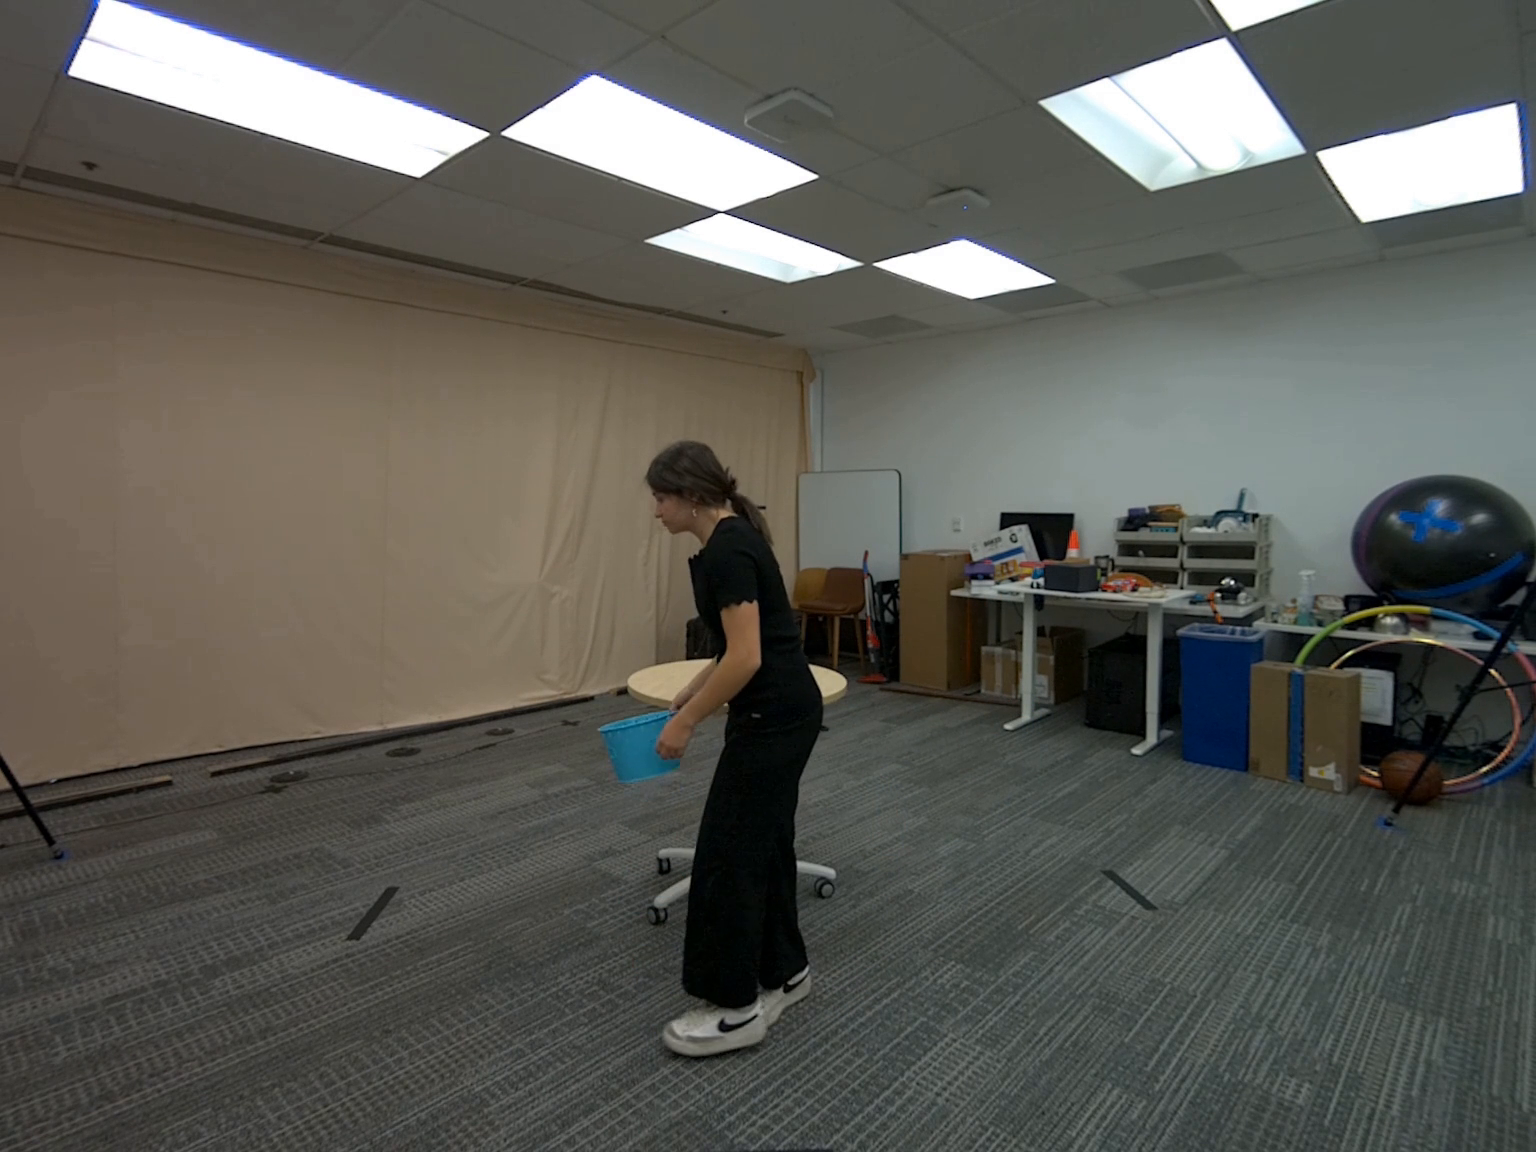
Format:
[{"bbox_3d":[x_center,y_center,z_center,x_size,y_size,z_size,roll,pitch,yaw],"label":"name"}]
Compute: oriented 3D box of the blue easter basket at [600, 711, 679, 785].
[{"bbox_3d":[-0.351,0.480,2.367,0.243,0.156,0.243,-13,-3,-3],"label":"blue easter basket"}]
